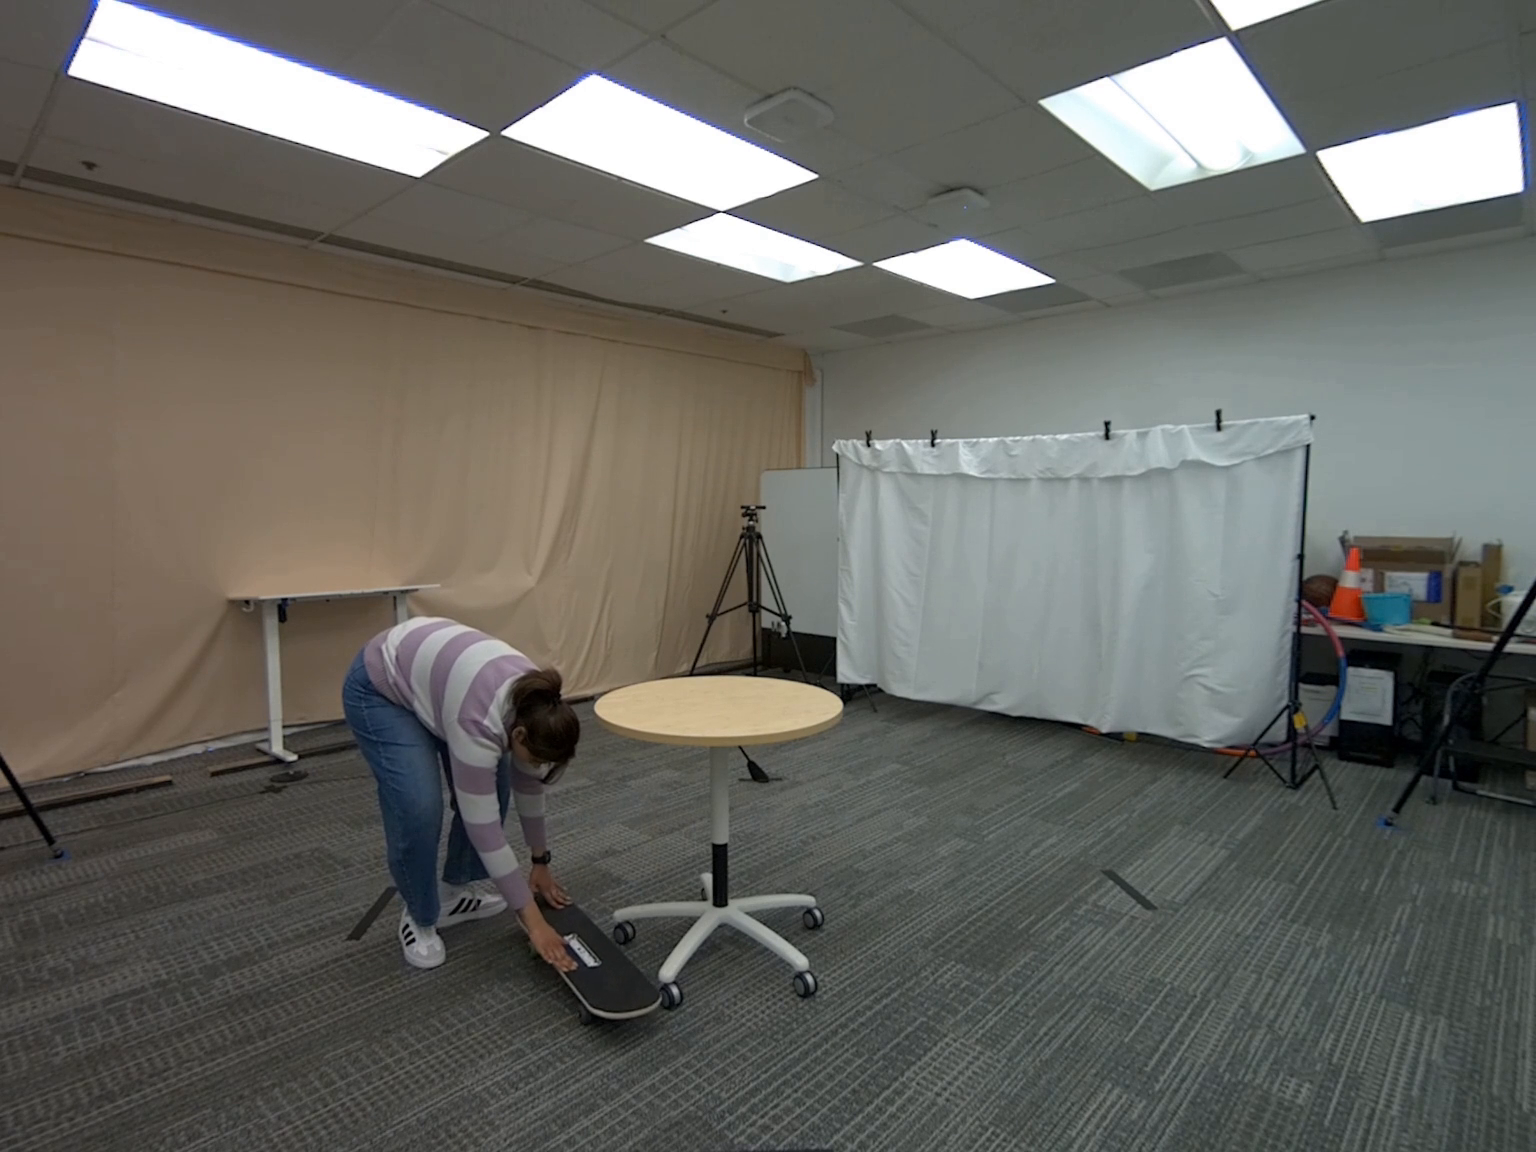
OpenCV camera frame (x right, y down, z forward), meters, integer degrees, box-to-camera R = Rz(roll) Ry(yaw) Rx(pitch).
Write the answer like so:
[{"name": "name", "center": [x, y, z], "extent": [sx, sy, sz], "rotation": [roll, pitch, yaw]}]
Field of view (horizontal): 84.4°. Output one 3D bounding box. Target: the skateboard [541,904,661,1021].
[{"name": "skateboard", "center": [-0.535, 1.125, 2.485], "extent": [0.188, 0.110, 0.810], "rotation": [-2, 4, -33]}]
